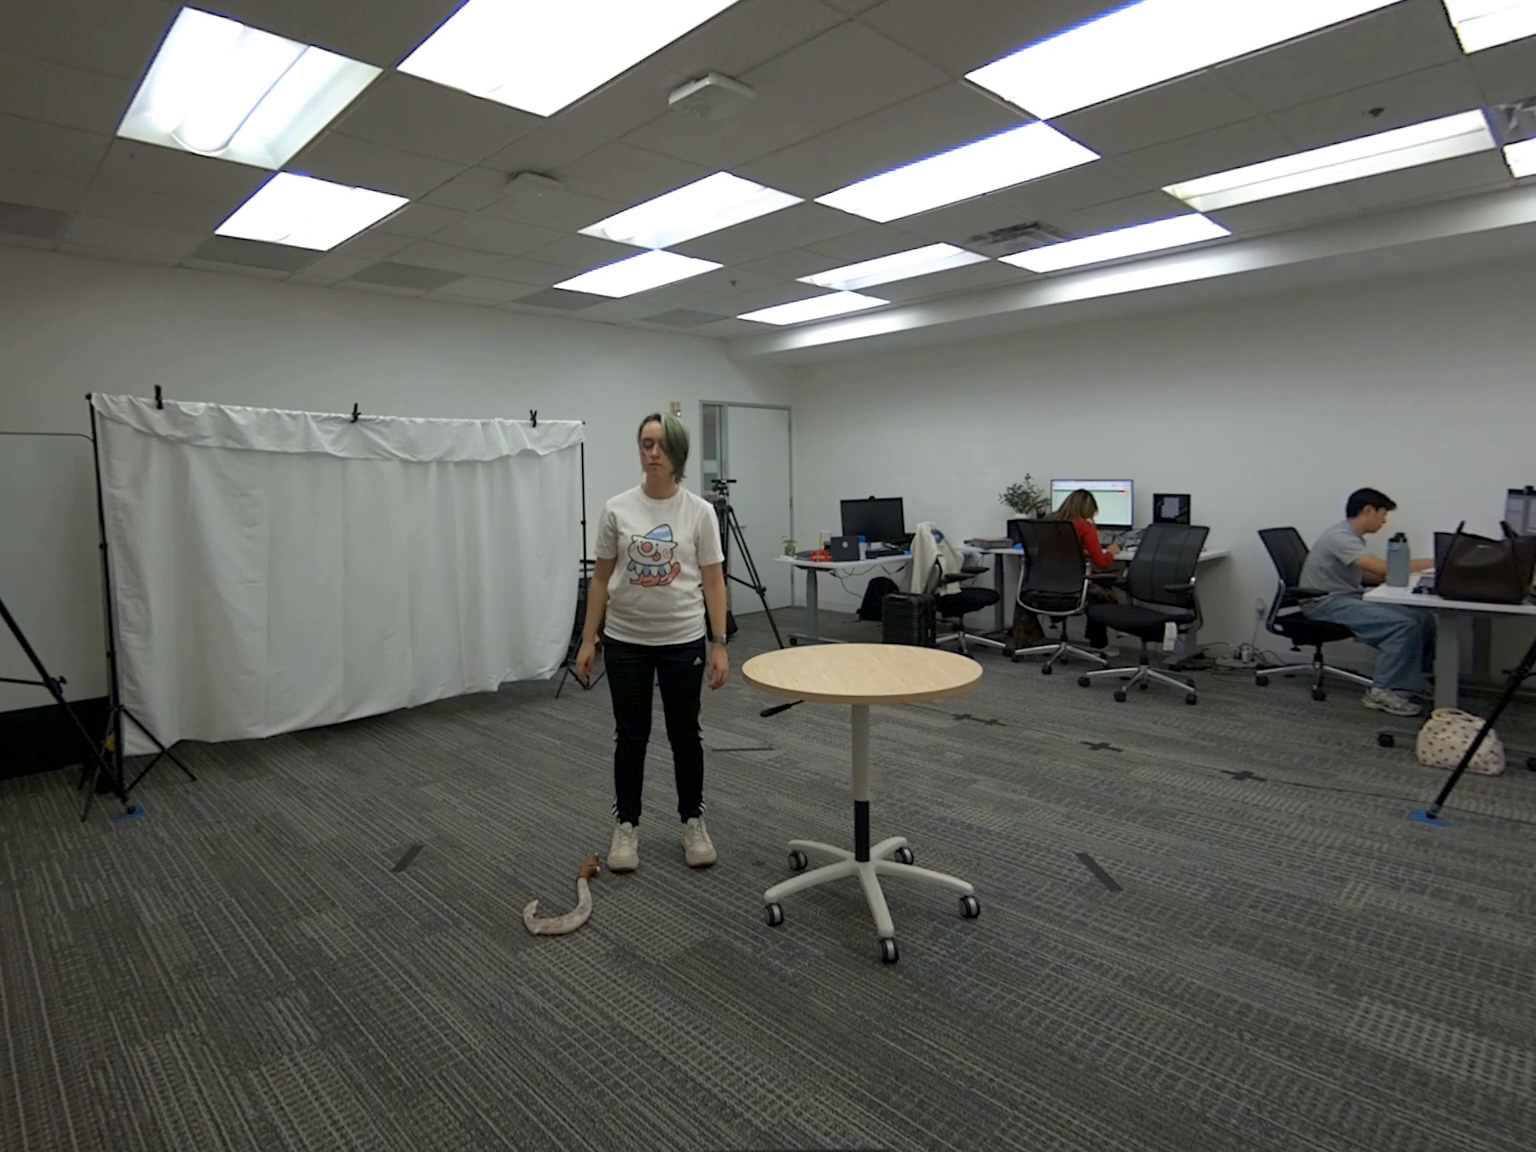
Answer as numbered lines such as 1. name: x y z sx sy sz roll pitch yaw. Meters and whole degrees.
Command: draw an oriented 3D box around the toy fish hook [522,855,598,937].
1. toy fish hook: -0.686 1.068 2.885 0.224 0.048 0.509 0 6 -1
